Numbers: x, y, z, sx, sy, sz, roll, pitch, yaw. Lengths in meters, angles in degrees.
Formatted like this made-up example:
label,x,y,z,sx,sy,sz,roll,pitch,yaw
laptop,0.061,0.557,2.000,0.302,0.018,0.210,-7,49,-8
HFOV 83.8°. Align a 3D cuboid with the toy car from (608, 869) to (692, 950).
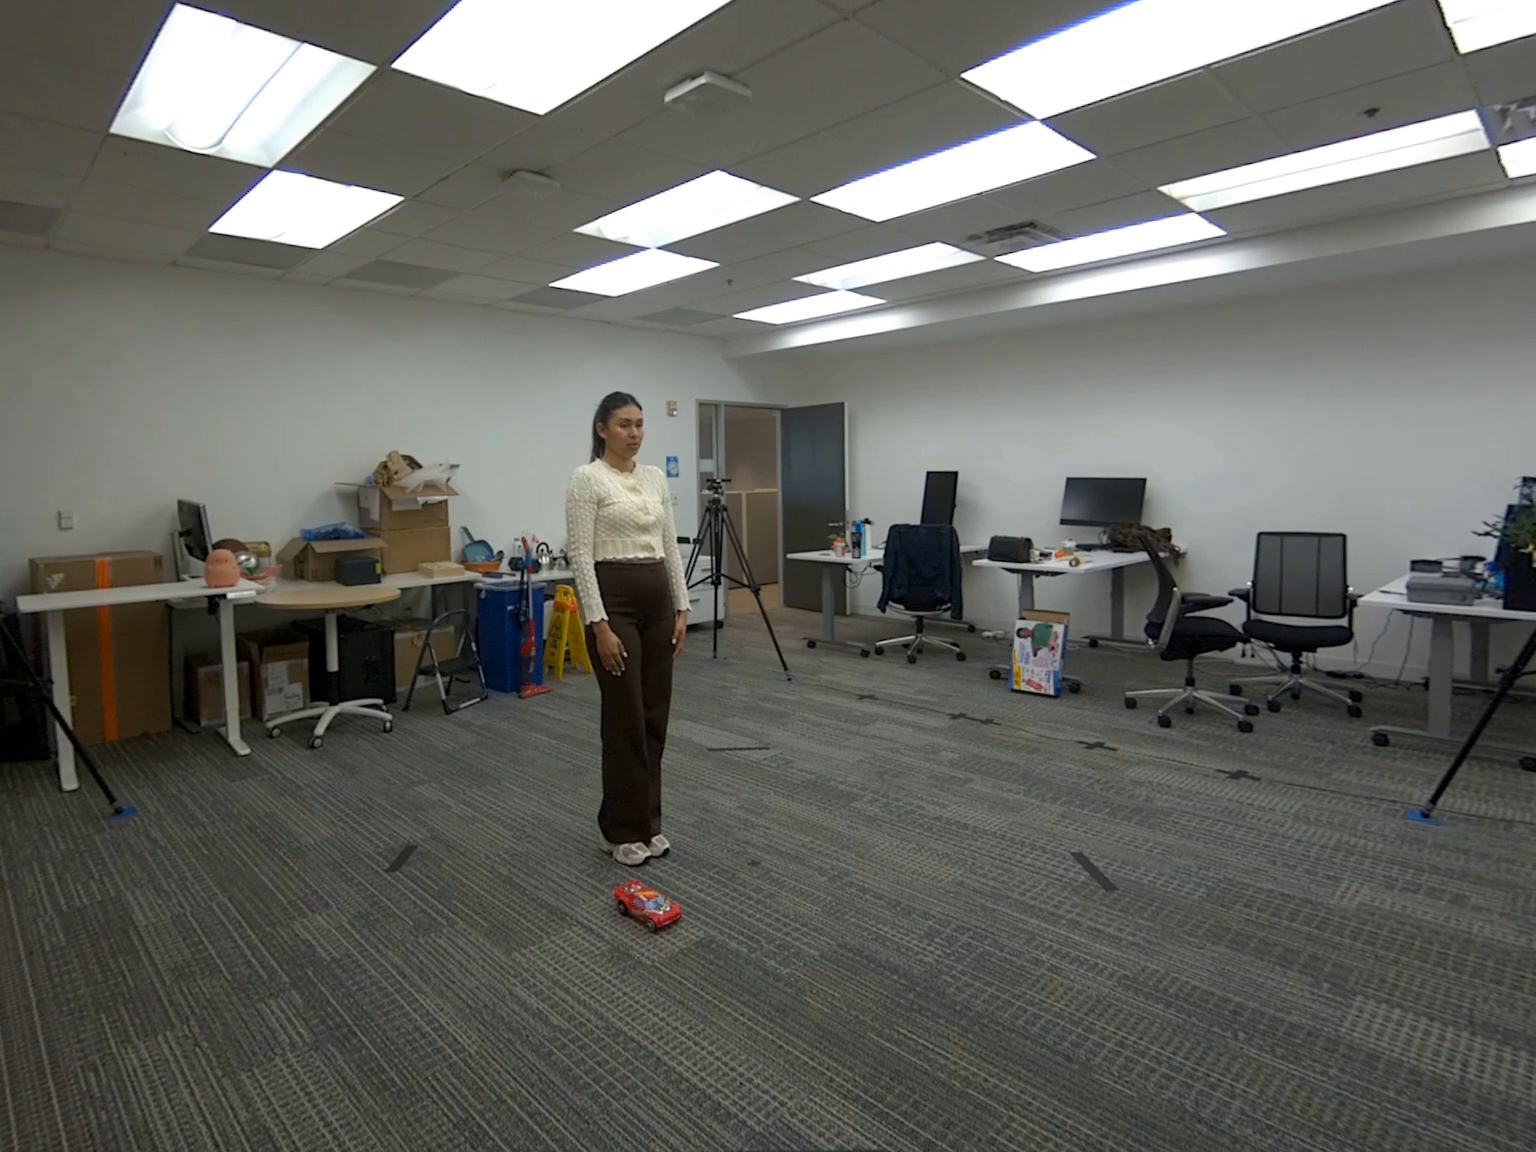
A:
label,x,y,z,sx,sy,sz,roll,pitch,yaw
toy car,-0.383,1.063,2.746,0.127,0.082,0.264,-8,19,-44
